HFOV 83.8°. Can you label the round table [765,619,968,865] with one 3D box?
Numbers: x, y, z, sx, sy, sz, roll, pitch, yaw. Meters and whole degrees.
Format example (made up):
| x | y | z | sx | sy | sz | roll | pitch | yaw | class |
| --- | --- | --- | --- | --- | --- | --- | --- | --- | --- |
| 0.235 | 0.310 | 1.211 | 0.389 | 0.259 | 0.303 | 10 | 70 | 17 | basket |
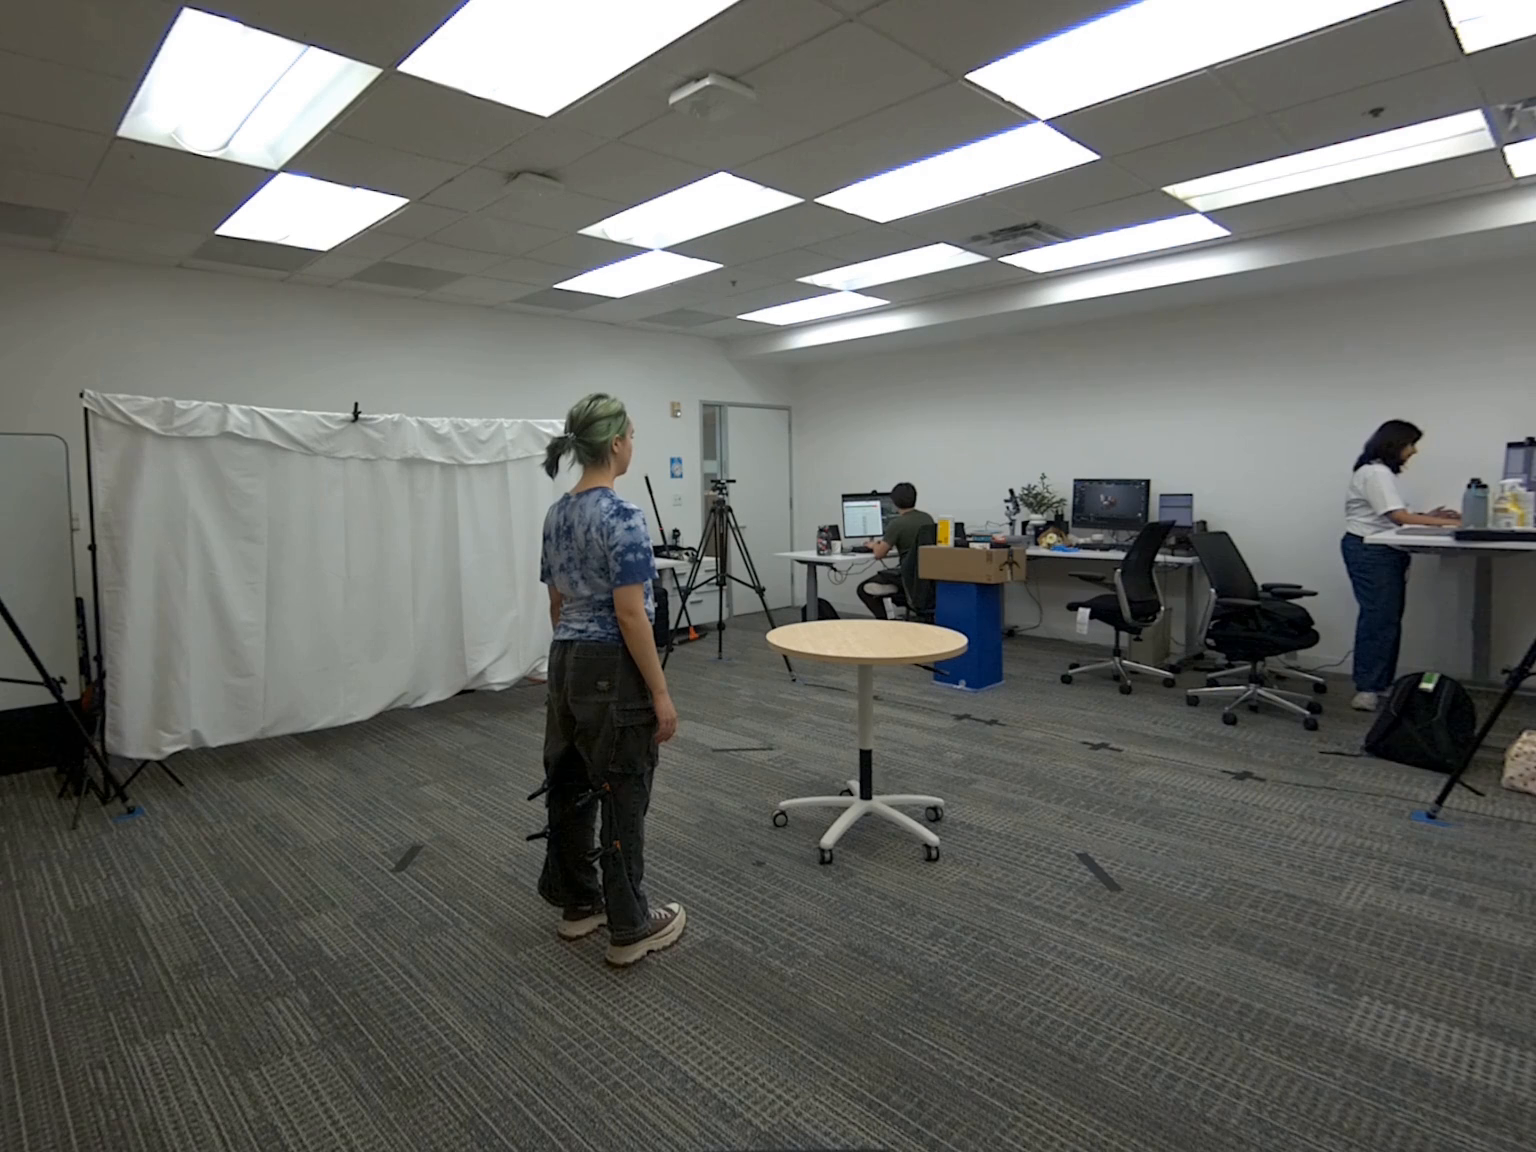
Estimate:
| x | y | z | sx | sy | sz | roll | pitch | yaw | class |
| --- | --- | --- | --- | --- | --- | --- | --- | --- | --- |
| 0.382 | 0.625 | 3.336 | 0.763 | 0.791 | 0.768 | -1 | 5 | -2 | round table |
